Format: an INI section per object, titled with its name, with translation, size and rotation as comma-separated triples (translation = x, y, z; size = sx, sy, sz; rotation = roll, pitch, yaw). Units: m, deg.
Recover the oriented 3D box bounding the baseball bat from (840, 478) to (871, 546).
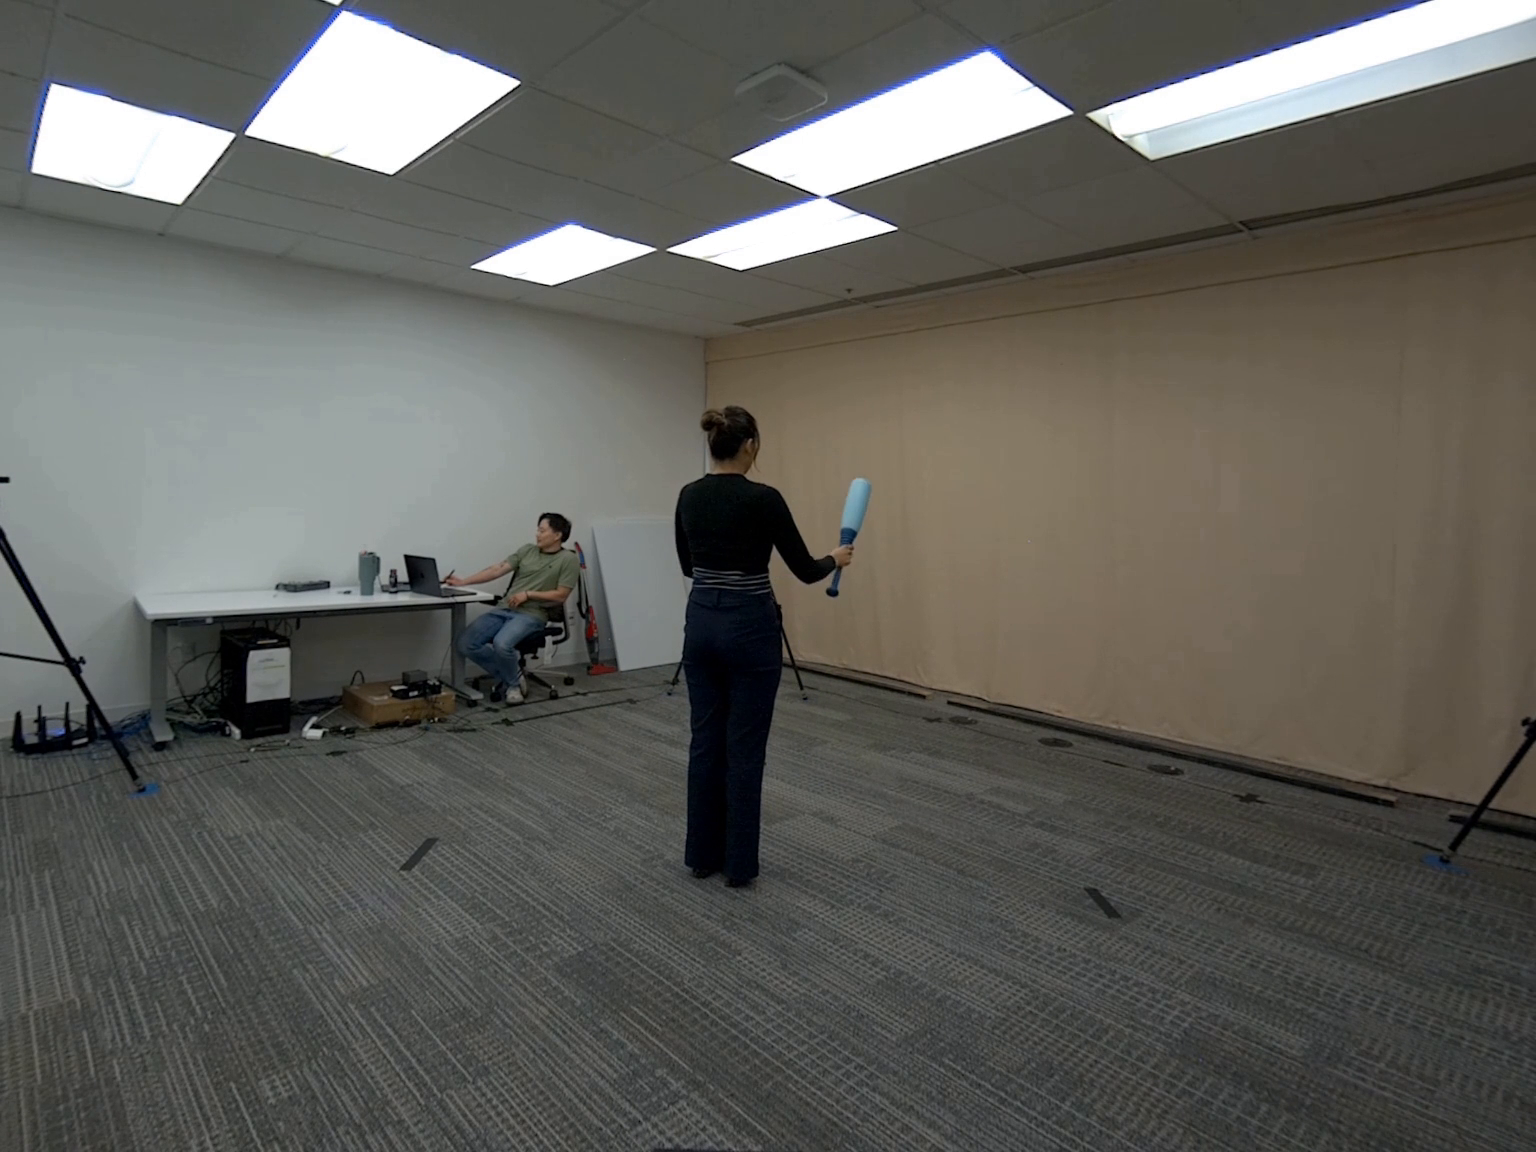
[baseball bat]
translation = 0.303, -0.141, 3.318
size = 0.090, 0.549, 0.087
rotation = 14, -29, 7
